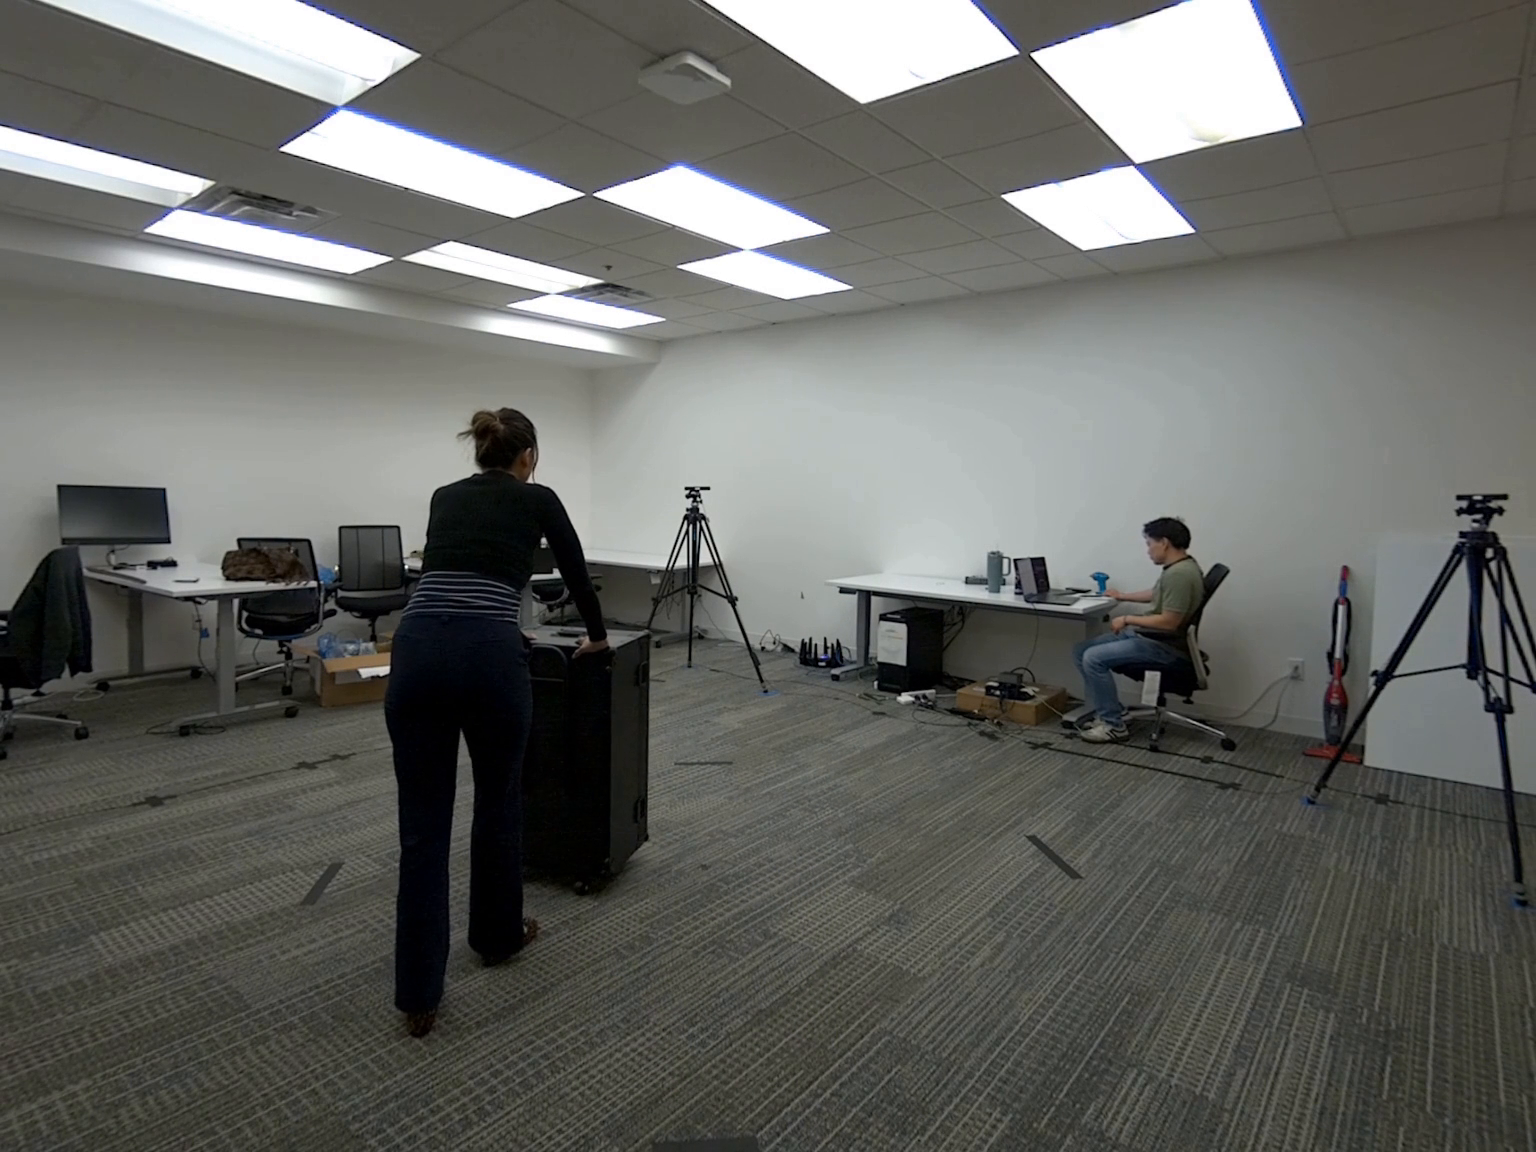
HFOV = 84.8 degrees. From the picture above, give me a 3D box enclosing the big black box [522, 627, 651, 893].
[{"bbox_3d":[-0.721,0.641,3.061,0.531,0.858,0.390,2,4,16],"label":"big black box"}]
